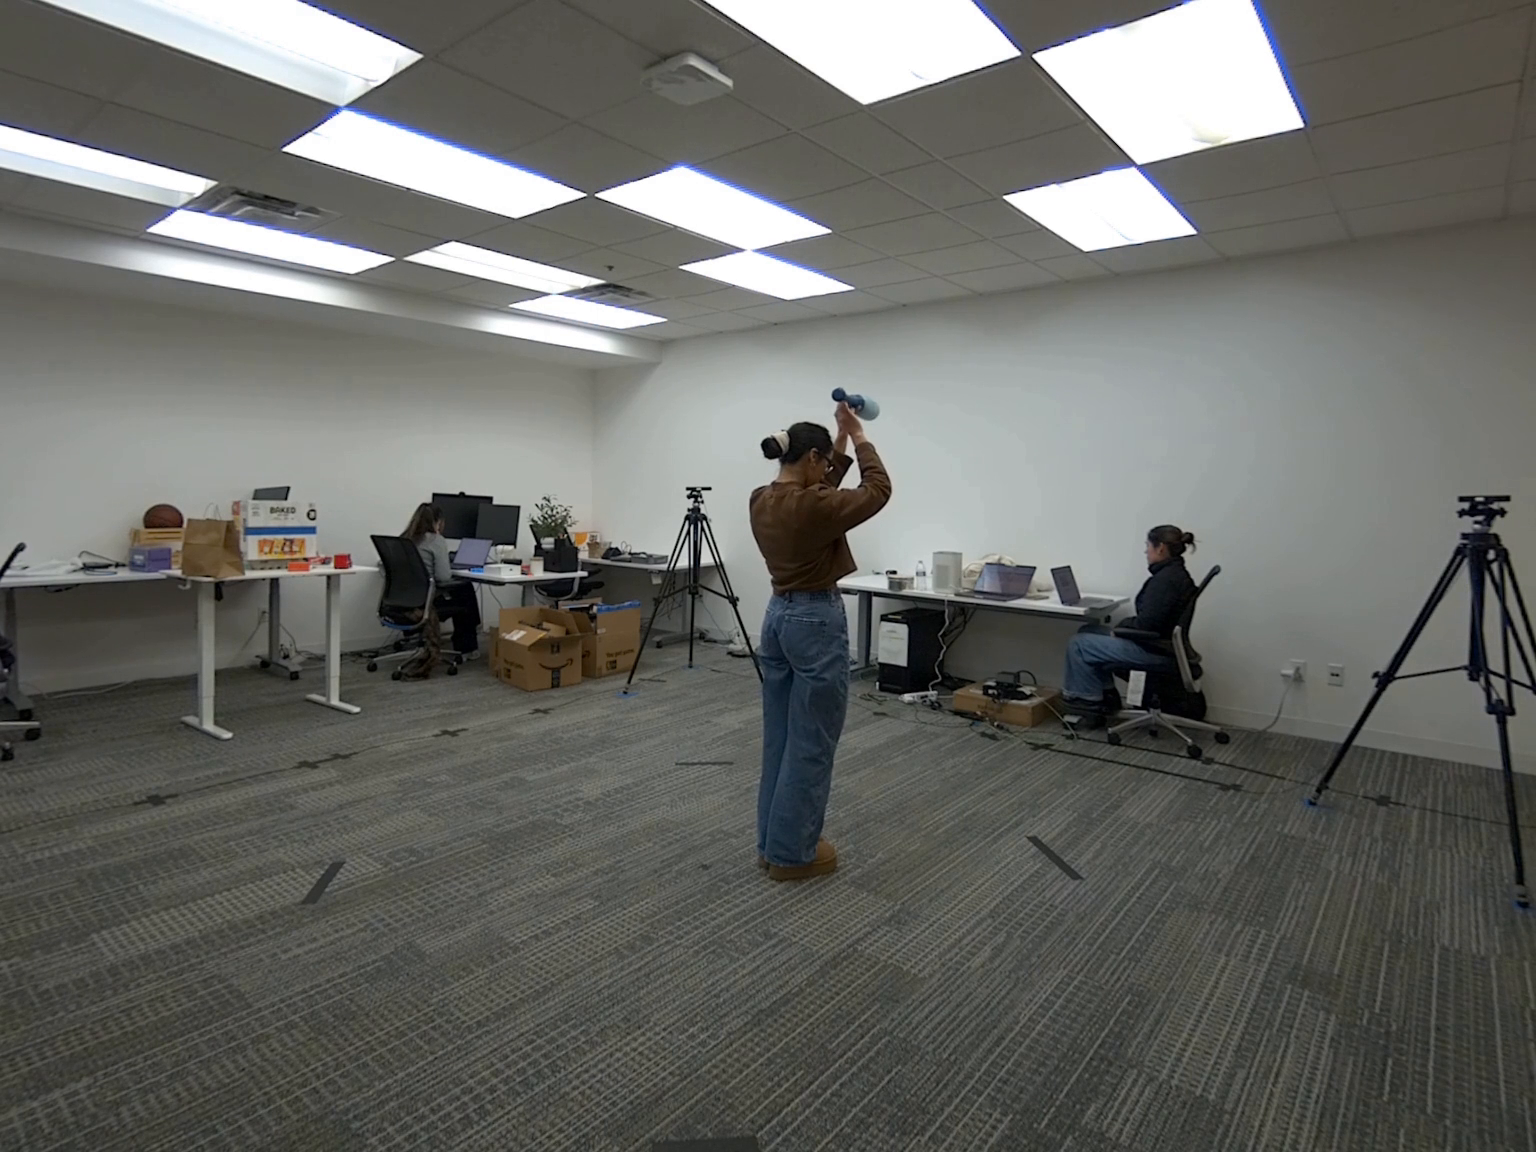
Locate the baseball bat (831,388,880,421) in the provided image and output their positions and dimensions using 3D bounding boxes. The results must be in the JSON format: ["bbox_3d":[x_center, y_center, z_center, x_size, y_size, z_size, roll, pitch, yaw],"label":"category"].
[{"bbox_3d":[0.327,-0.670,3.262,0.091,0.089,0.533,2,4,19],"label":"baseball bat"}]
